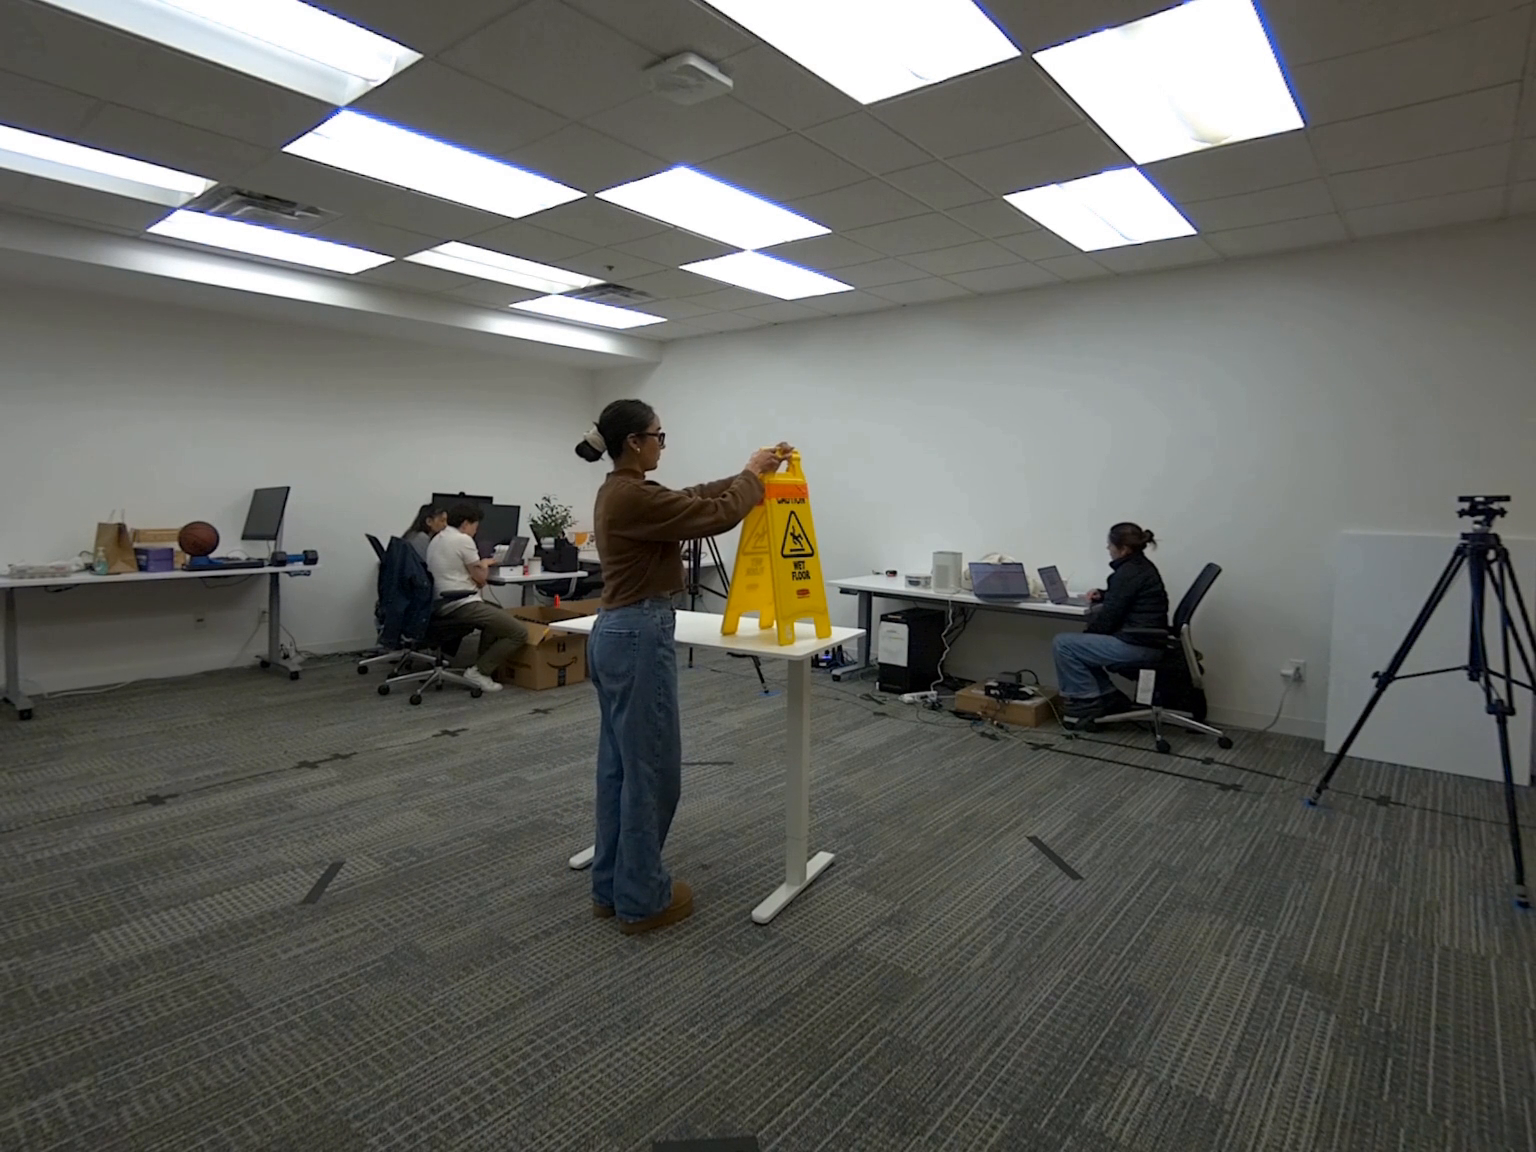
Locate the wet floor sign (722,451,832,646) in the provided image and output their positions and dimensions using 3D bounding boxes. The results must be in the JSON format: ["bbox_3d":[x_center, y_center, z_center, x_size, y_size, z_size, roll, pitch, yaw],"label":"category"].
[{"bbox_3d":[0.020,-0.117,2.921,0.299,0.644,0.274,4,4,41],"label":"wet floor sign"}]
